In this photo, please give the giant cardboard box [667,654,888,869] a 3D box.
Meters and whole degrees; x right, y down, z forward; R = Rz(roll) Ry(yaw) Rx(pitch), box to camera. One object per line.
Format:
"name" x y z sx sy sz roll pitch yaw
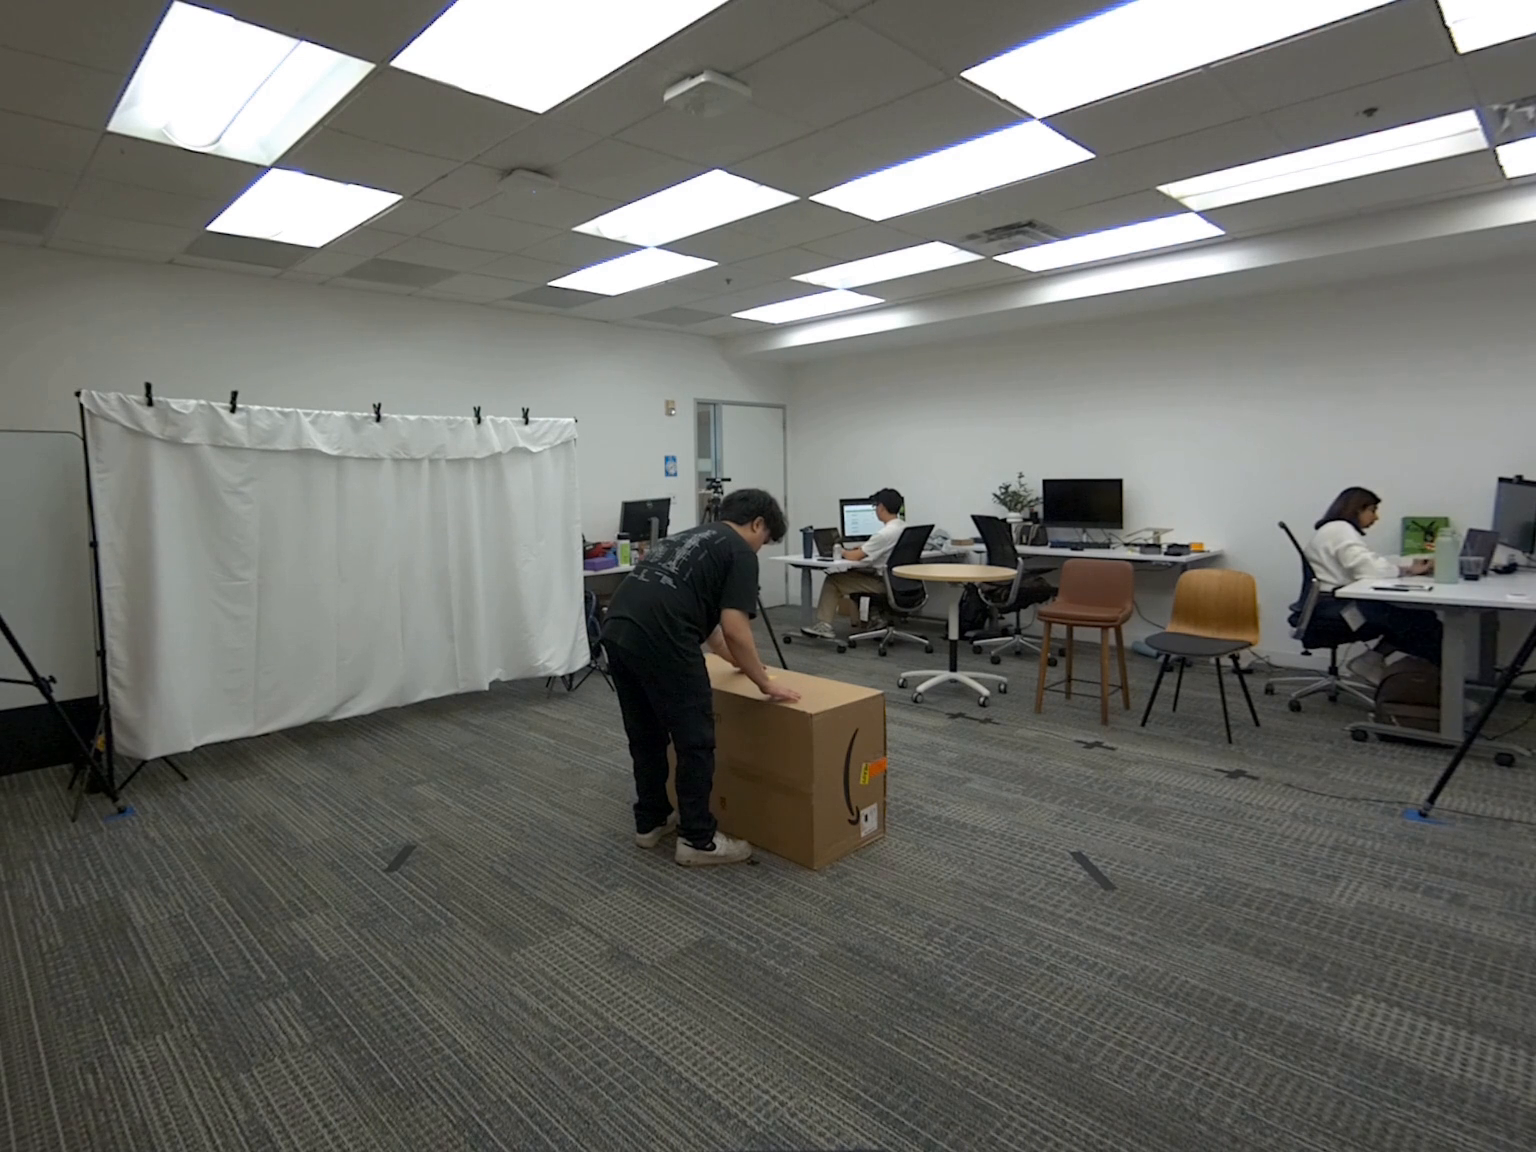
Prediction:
"giant cardboard box" -0.054 0.709 3.531 0.435 0.582 1.059 -4 7 -44
